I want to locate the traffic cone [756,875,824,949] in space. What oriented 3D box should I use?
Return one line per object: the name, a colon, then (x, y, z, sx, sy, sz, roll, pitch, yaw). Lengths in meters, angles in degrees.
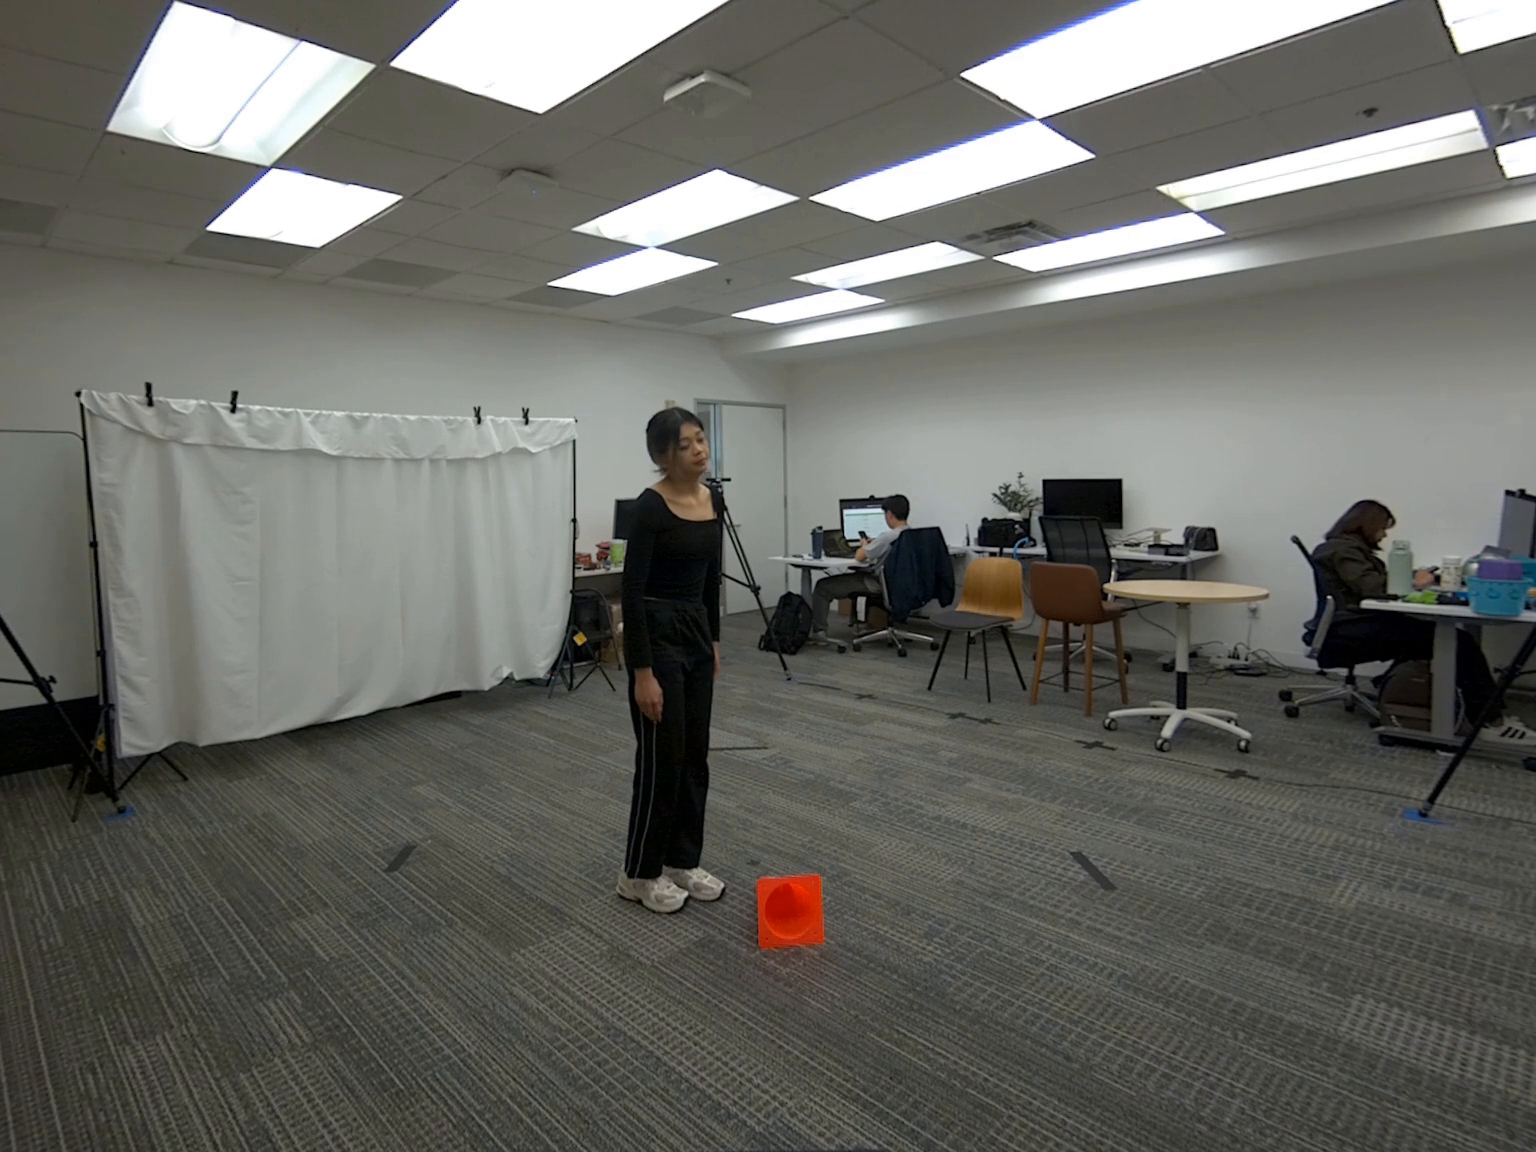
traffic cone: (0.022, 1.038, 2.749, 0.201, 0.207, 0.384, -1, -9, -13)
